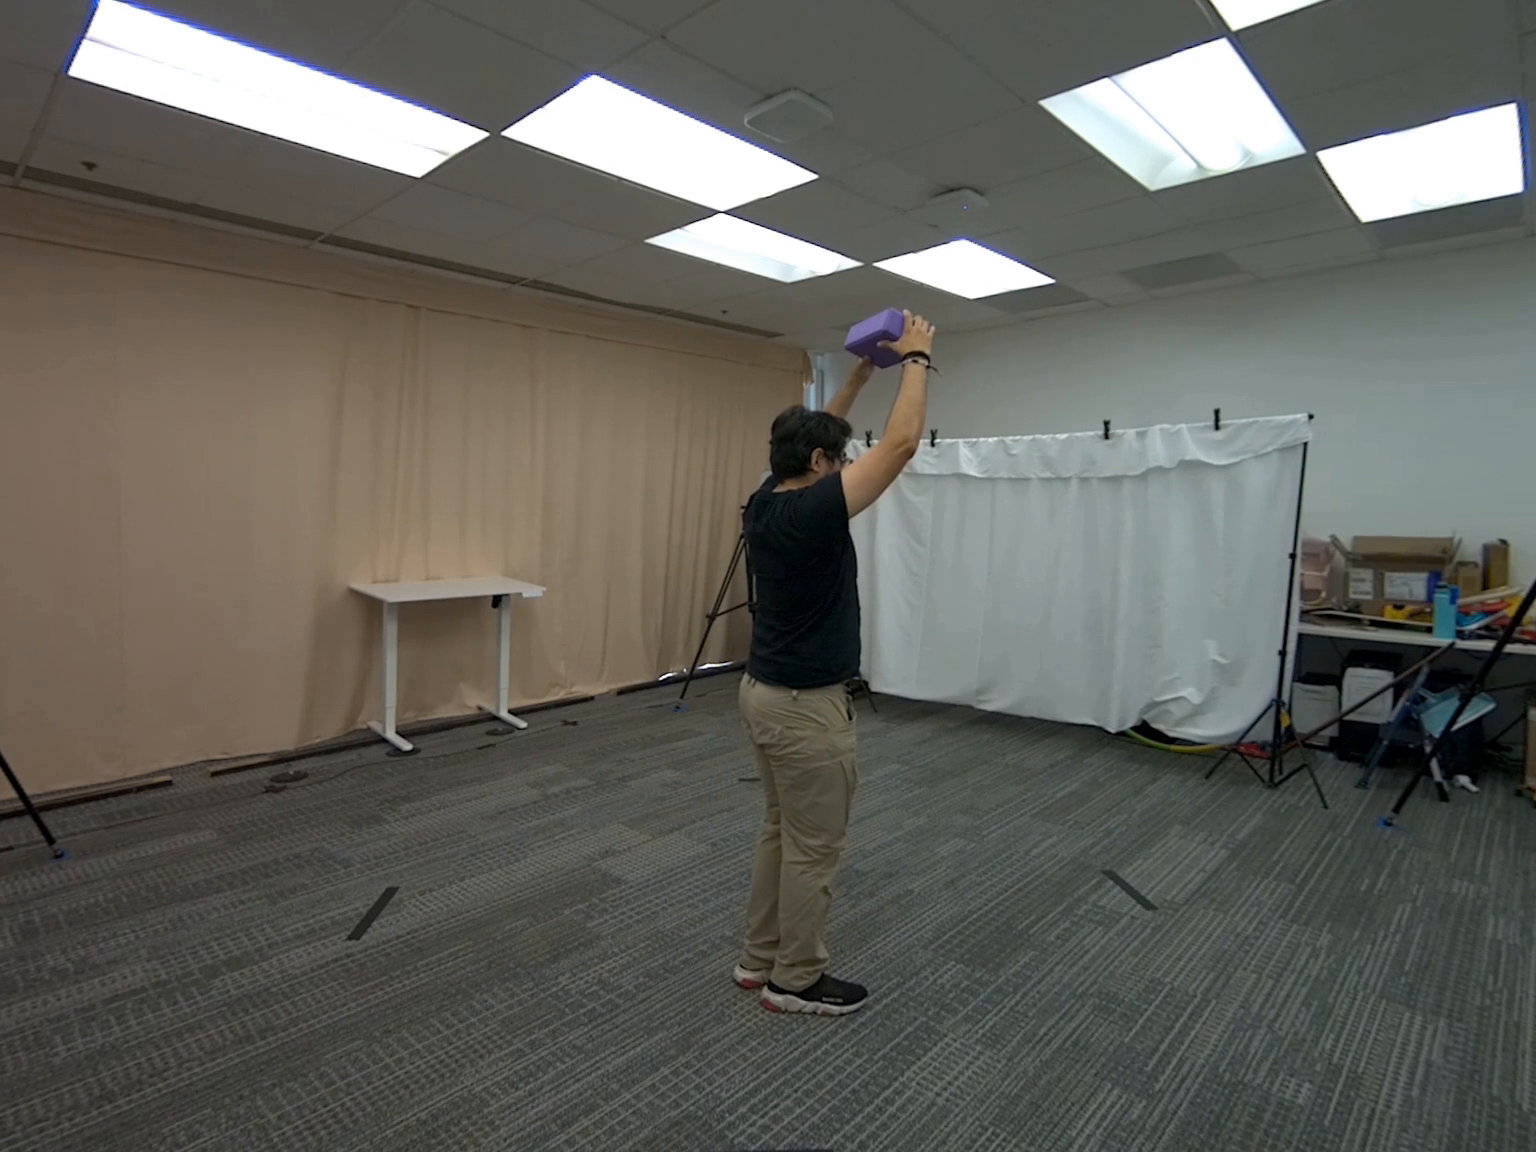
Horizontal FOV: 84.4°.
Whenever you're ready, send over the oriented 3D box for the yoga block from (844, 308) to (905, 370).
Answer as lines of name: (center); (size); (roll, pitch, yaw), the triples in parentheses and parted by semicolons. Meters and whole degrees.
yoga block: (0.338, -0.662, 2.348); (0.145, 0.076, 0.234); (23, -6, -21)
